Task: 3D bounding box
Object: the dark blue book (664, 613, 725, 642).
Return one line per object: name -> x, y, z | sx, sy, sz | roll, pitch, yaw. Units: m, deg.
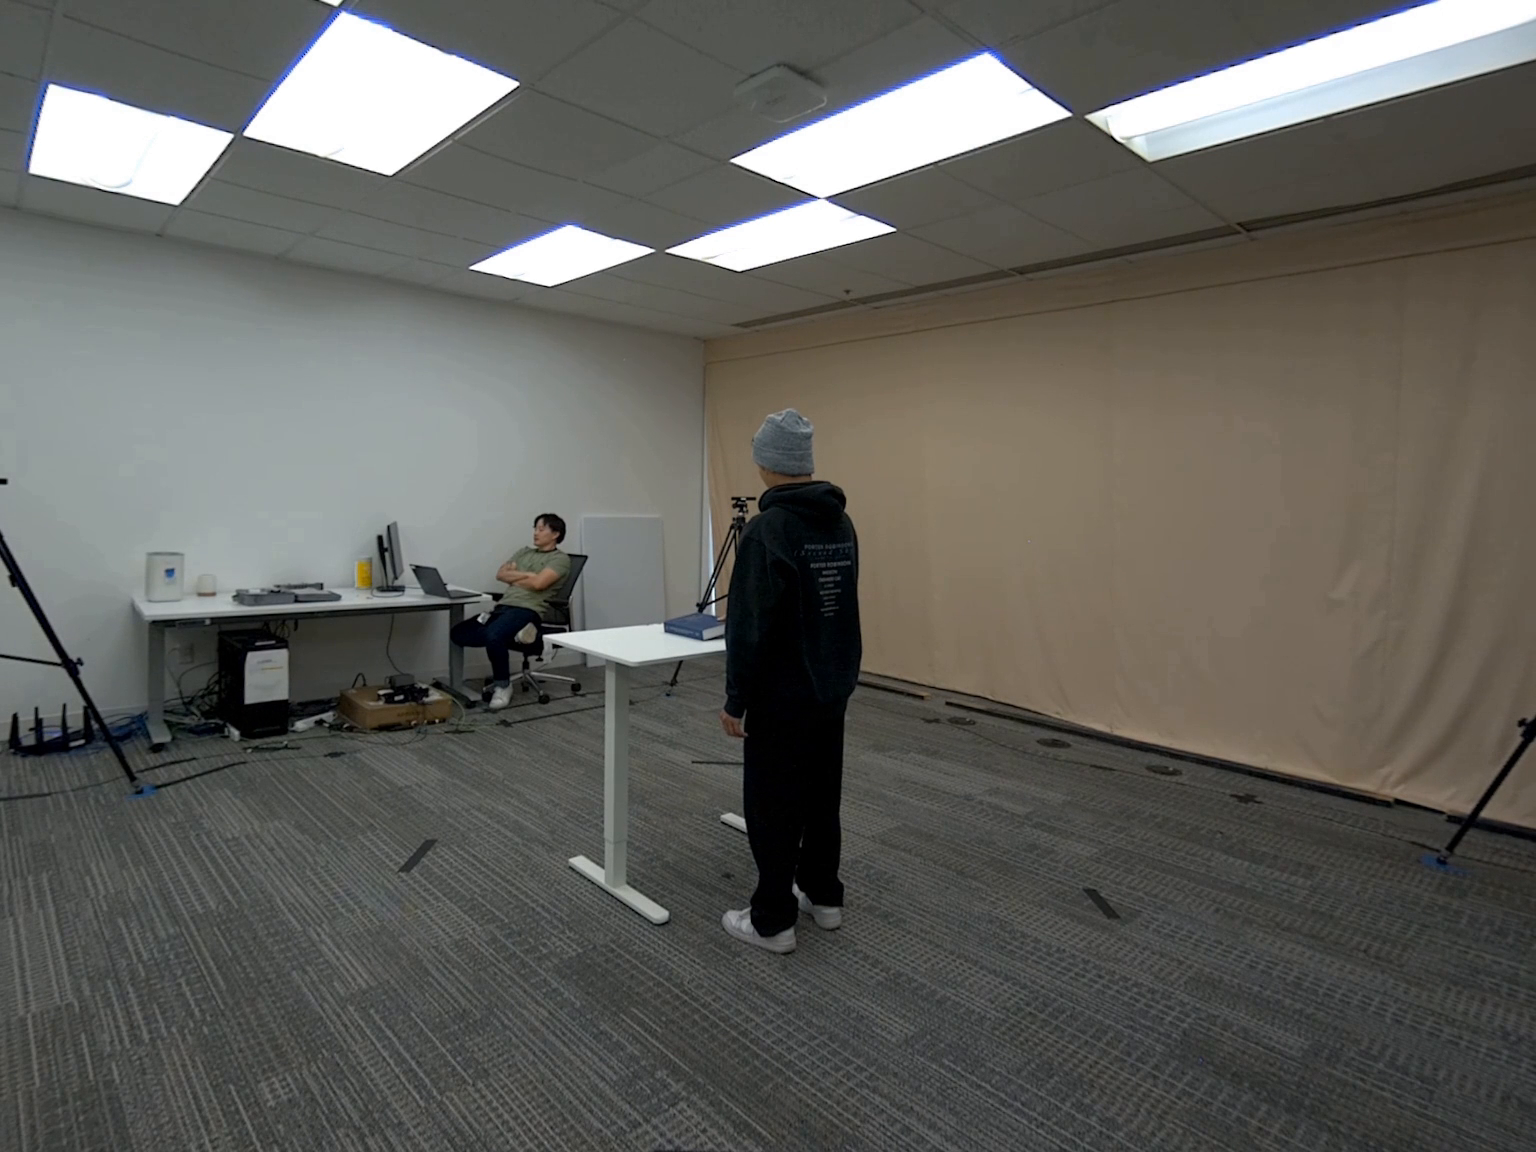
dark blue book -> -0.265, 0.191, 3.130 | 0.160, 0.045, 0.251 | -13, 12, -37
